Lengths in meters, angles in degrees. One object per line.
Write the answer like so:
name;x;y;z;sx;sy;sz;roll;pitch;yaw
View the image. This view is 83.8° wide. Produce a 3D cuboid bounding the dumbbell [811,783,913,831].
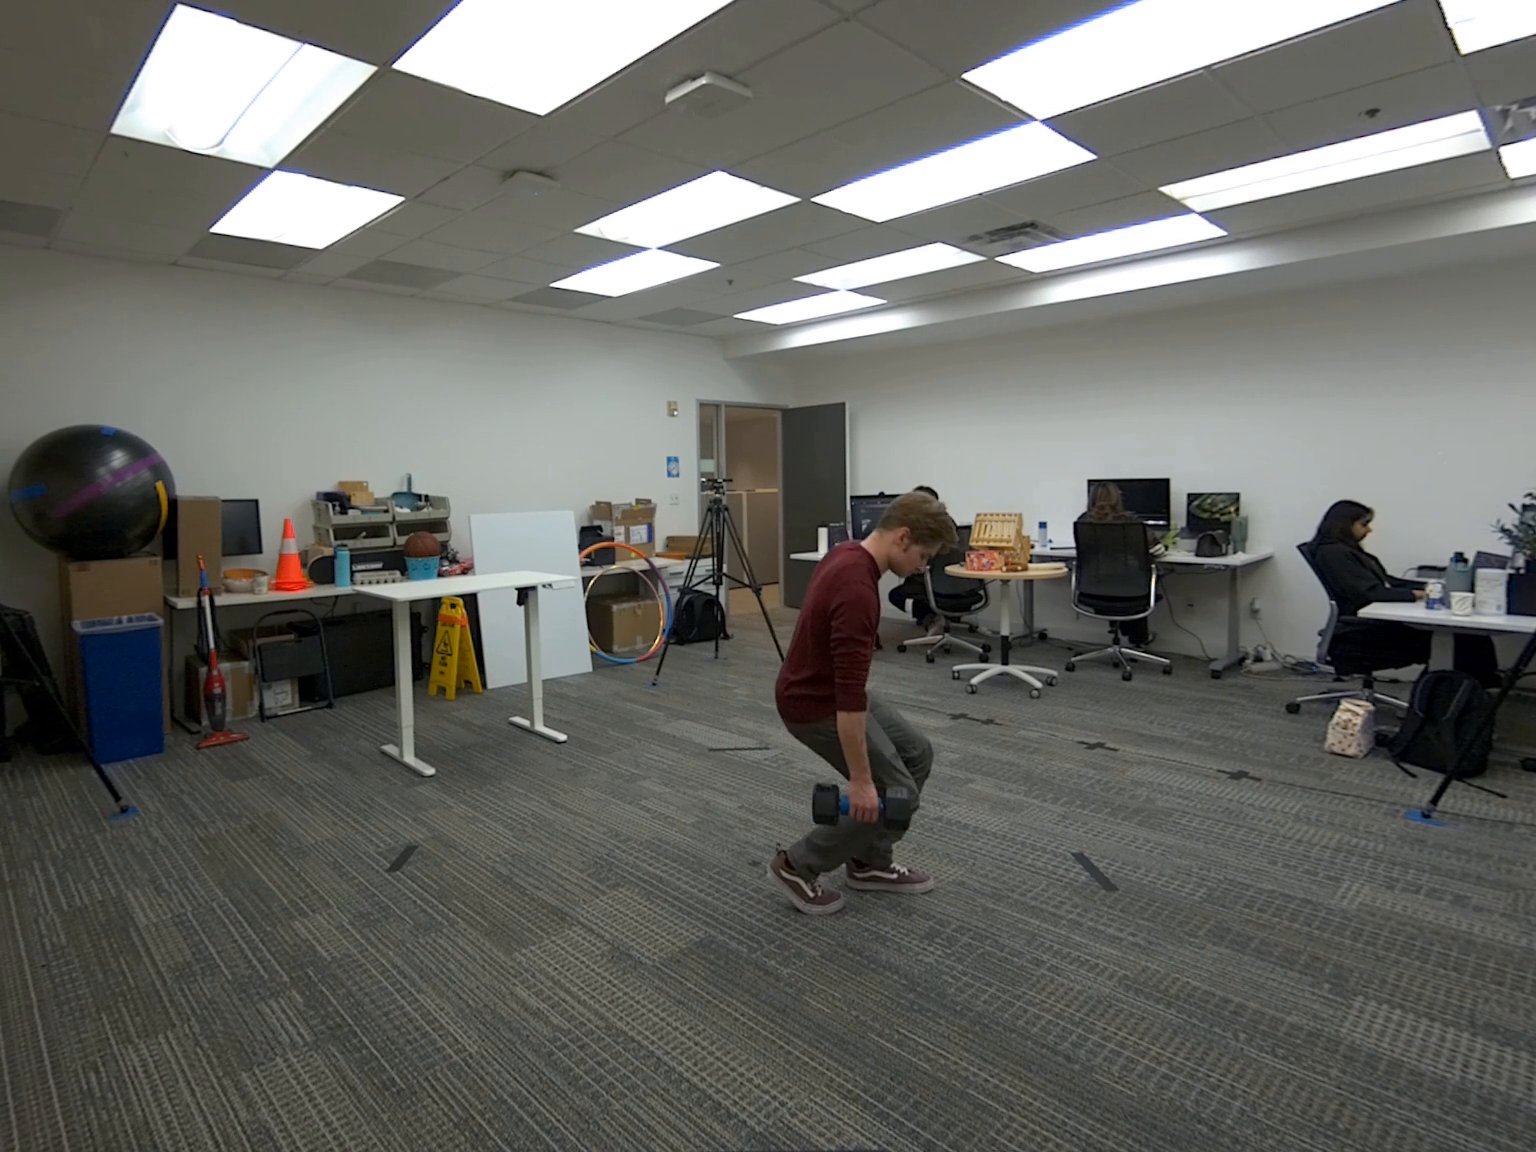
dumbbell;0.286;0.705;2.597;0.296;0.125;0.106;1;-19;9
